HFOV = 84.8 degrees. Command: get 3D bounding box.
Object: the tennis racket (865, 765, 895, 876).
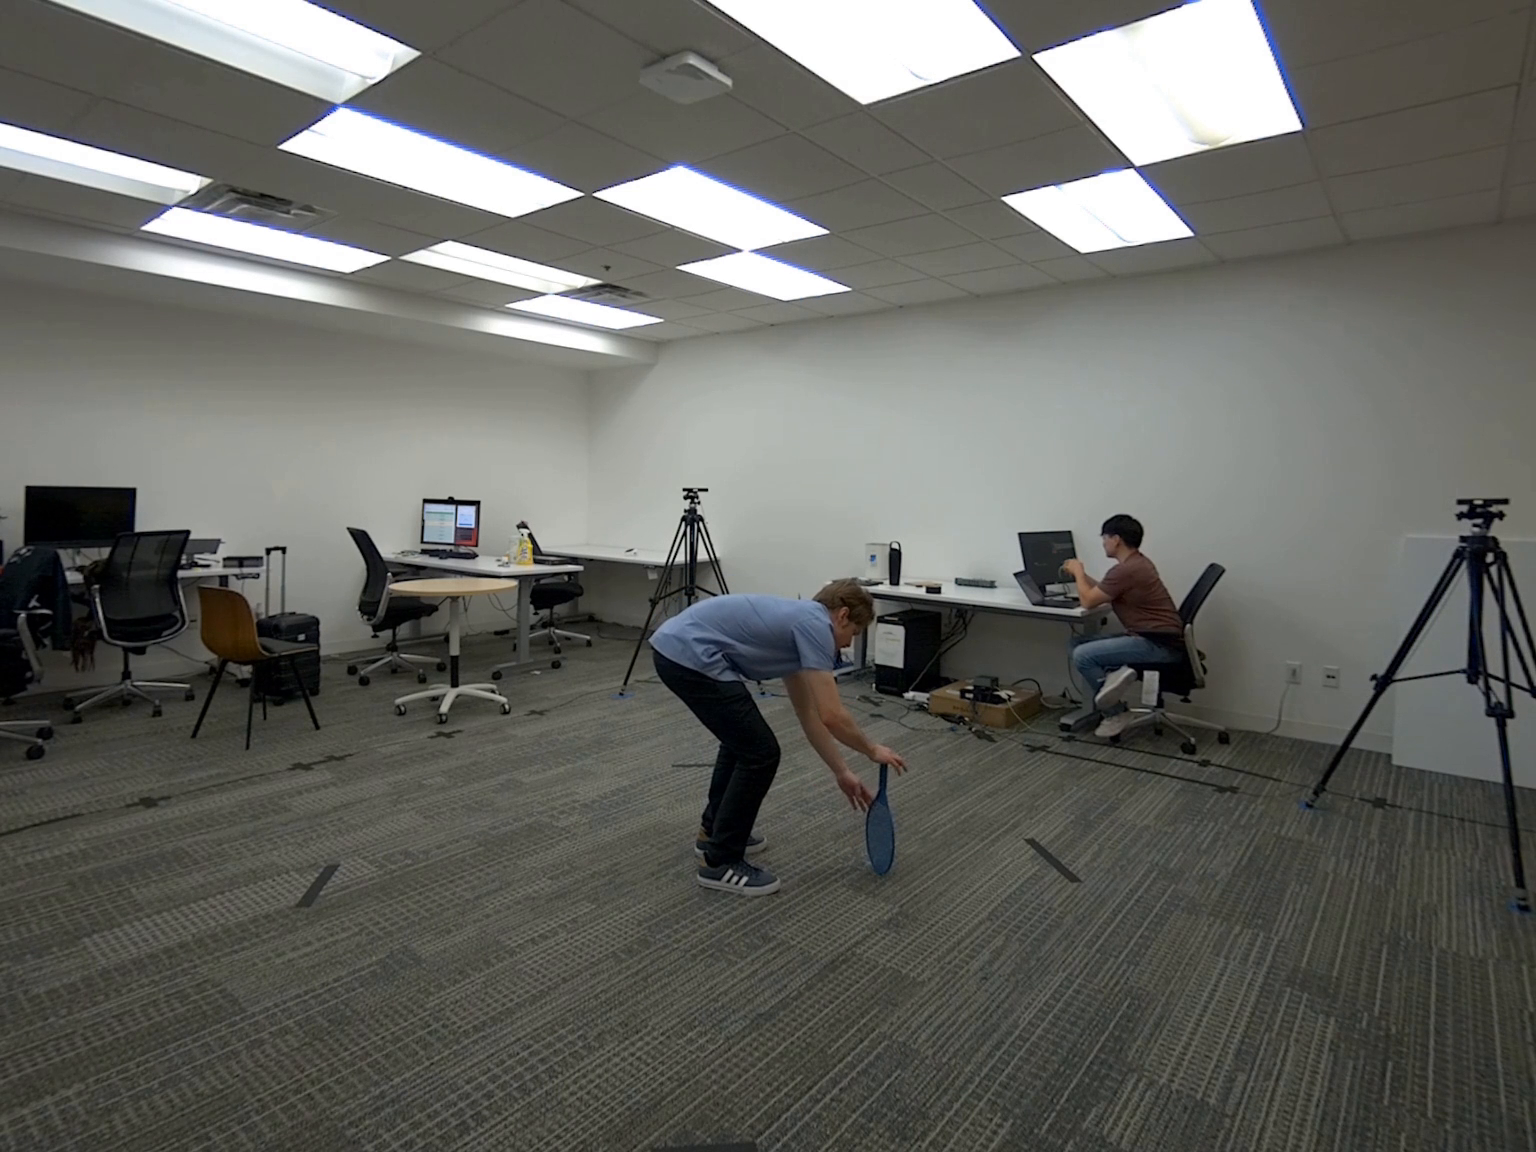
[{"bbox_3d":[0.398,0.870,3.102,0.031,0.431,0.218,4,6,-16],"label":"tennis racket"}]
